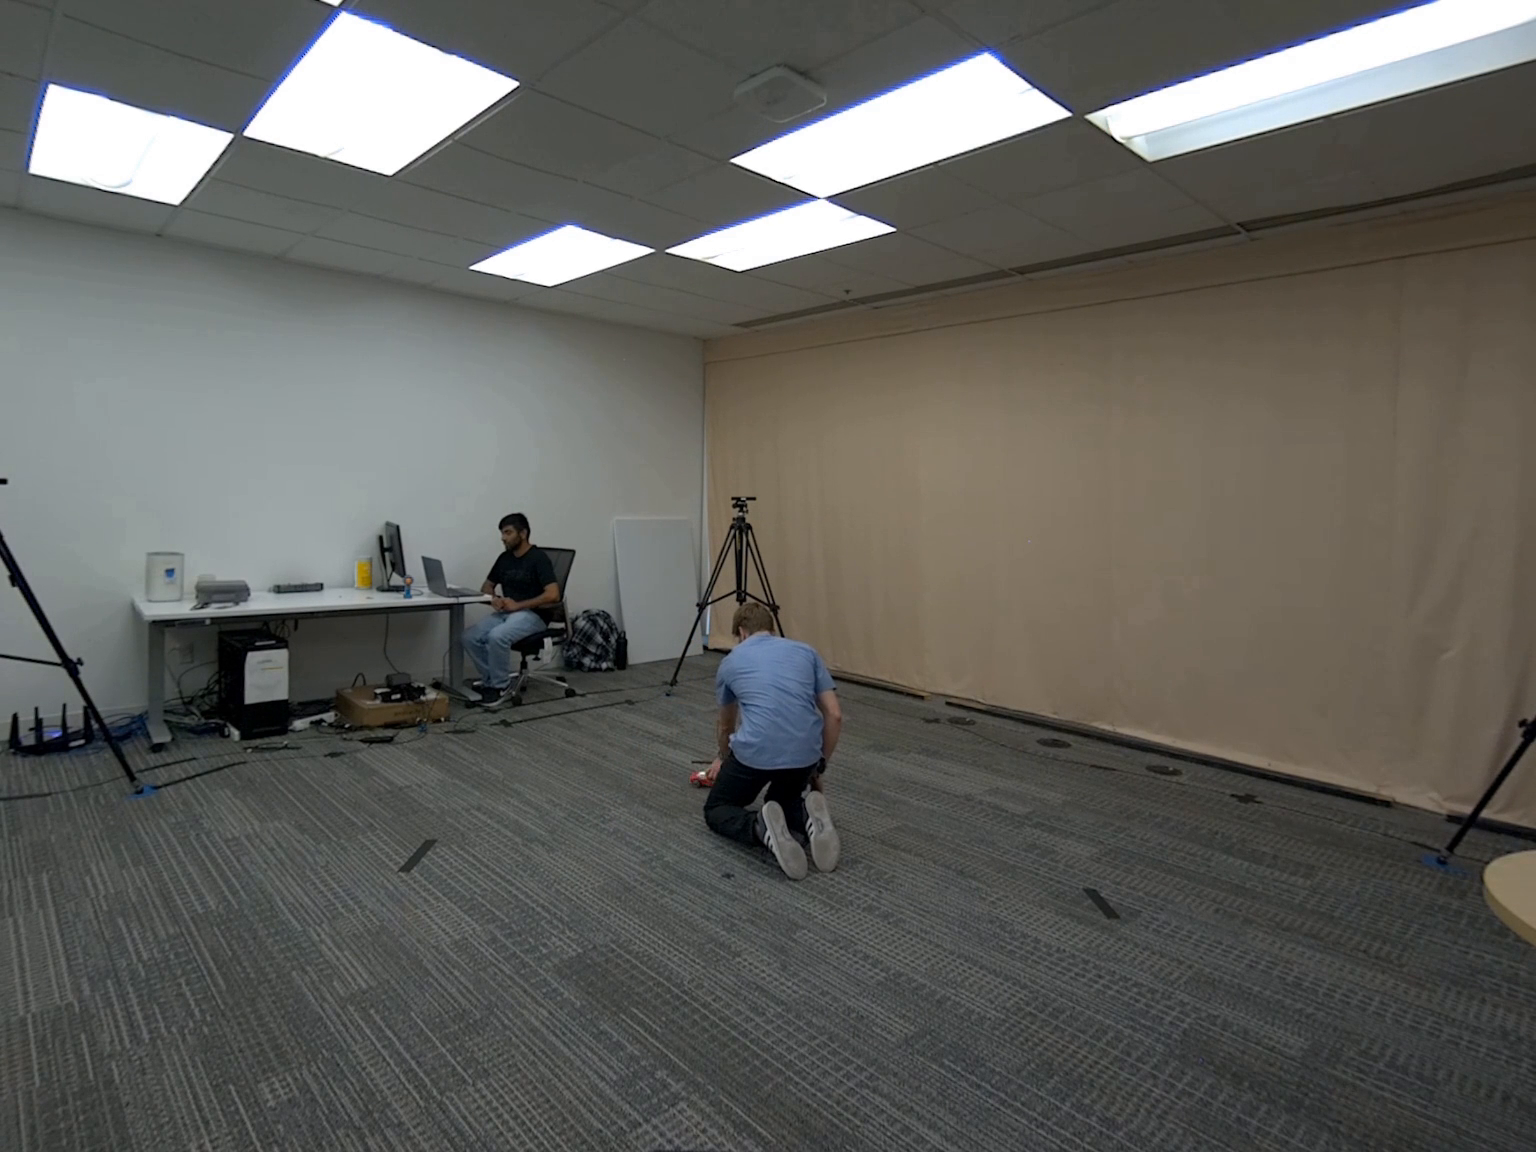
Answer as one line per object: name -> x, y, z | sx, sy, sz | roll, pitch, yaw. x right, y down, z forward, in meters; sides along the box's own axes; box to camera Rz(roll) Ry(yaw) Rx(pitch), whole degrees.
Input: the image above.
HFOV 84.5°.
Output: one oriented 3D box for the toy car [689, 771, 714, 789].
toy car -> -0.257, 0.990, 4.087 | 0.256, 0.083, 0.130 | -8, 4, 9
